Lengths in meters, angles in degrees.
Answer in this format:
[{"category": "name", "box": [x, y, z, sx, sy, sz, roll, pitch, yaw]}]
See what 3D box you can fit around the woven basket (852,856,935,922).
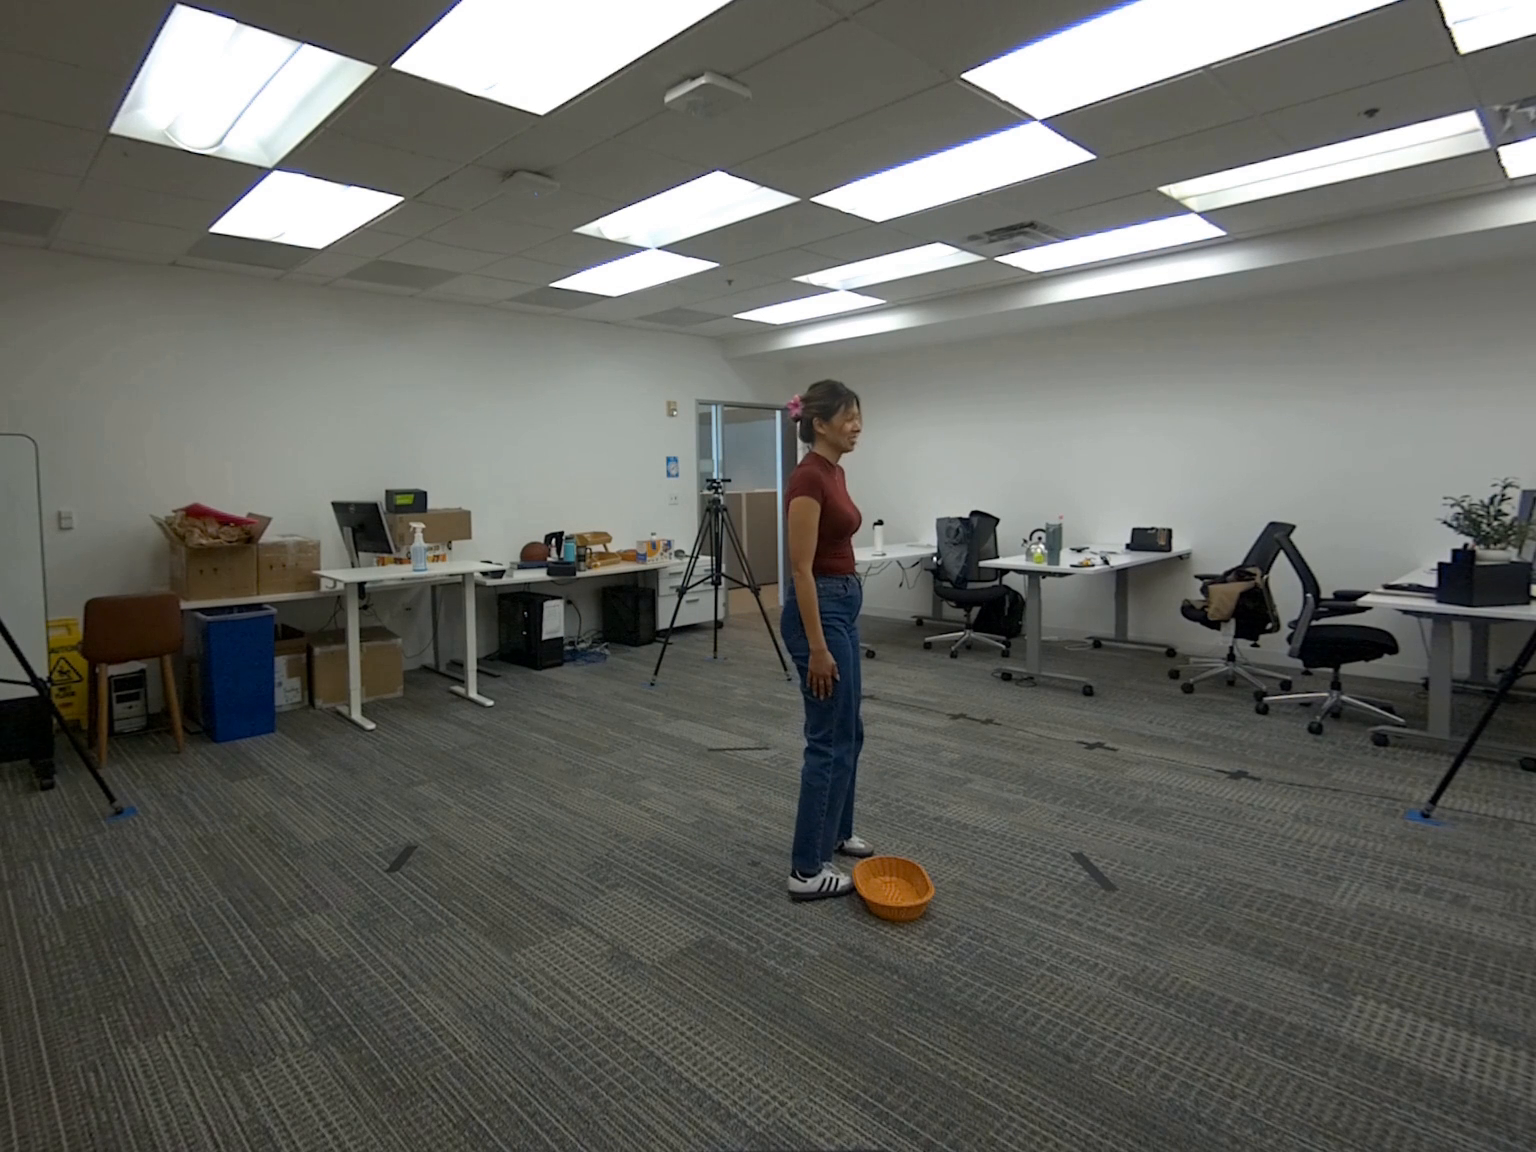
[{"category": "woven basket", "box": [0.410, 1.030, 2.815, 0.253, 0.073, 0.351, -2, 7, 1]}]
